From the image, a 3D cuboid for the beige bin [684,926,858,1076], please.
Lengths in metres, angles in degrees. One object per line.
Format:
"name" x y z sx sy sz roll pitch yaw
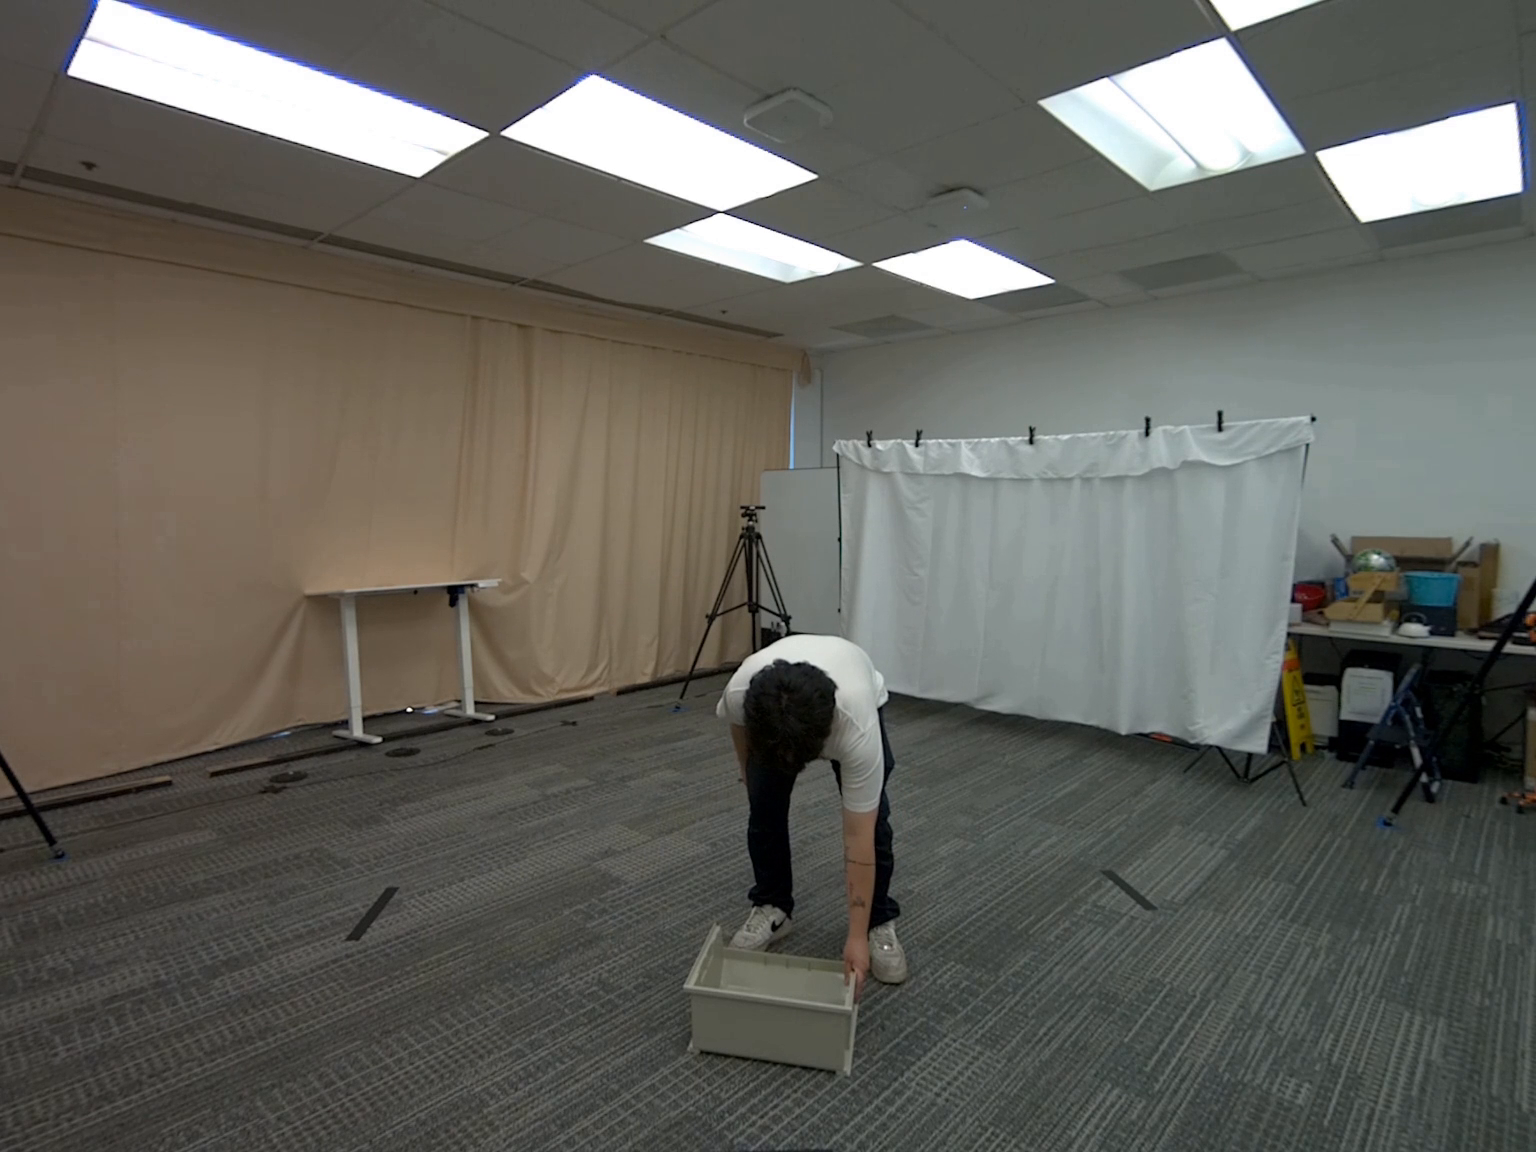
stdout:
"beige bin" 0.027 1.117 2.262 0.428 0.188 0.373 2 5 12
